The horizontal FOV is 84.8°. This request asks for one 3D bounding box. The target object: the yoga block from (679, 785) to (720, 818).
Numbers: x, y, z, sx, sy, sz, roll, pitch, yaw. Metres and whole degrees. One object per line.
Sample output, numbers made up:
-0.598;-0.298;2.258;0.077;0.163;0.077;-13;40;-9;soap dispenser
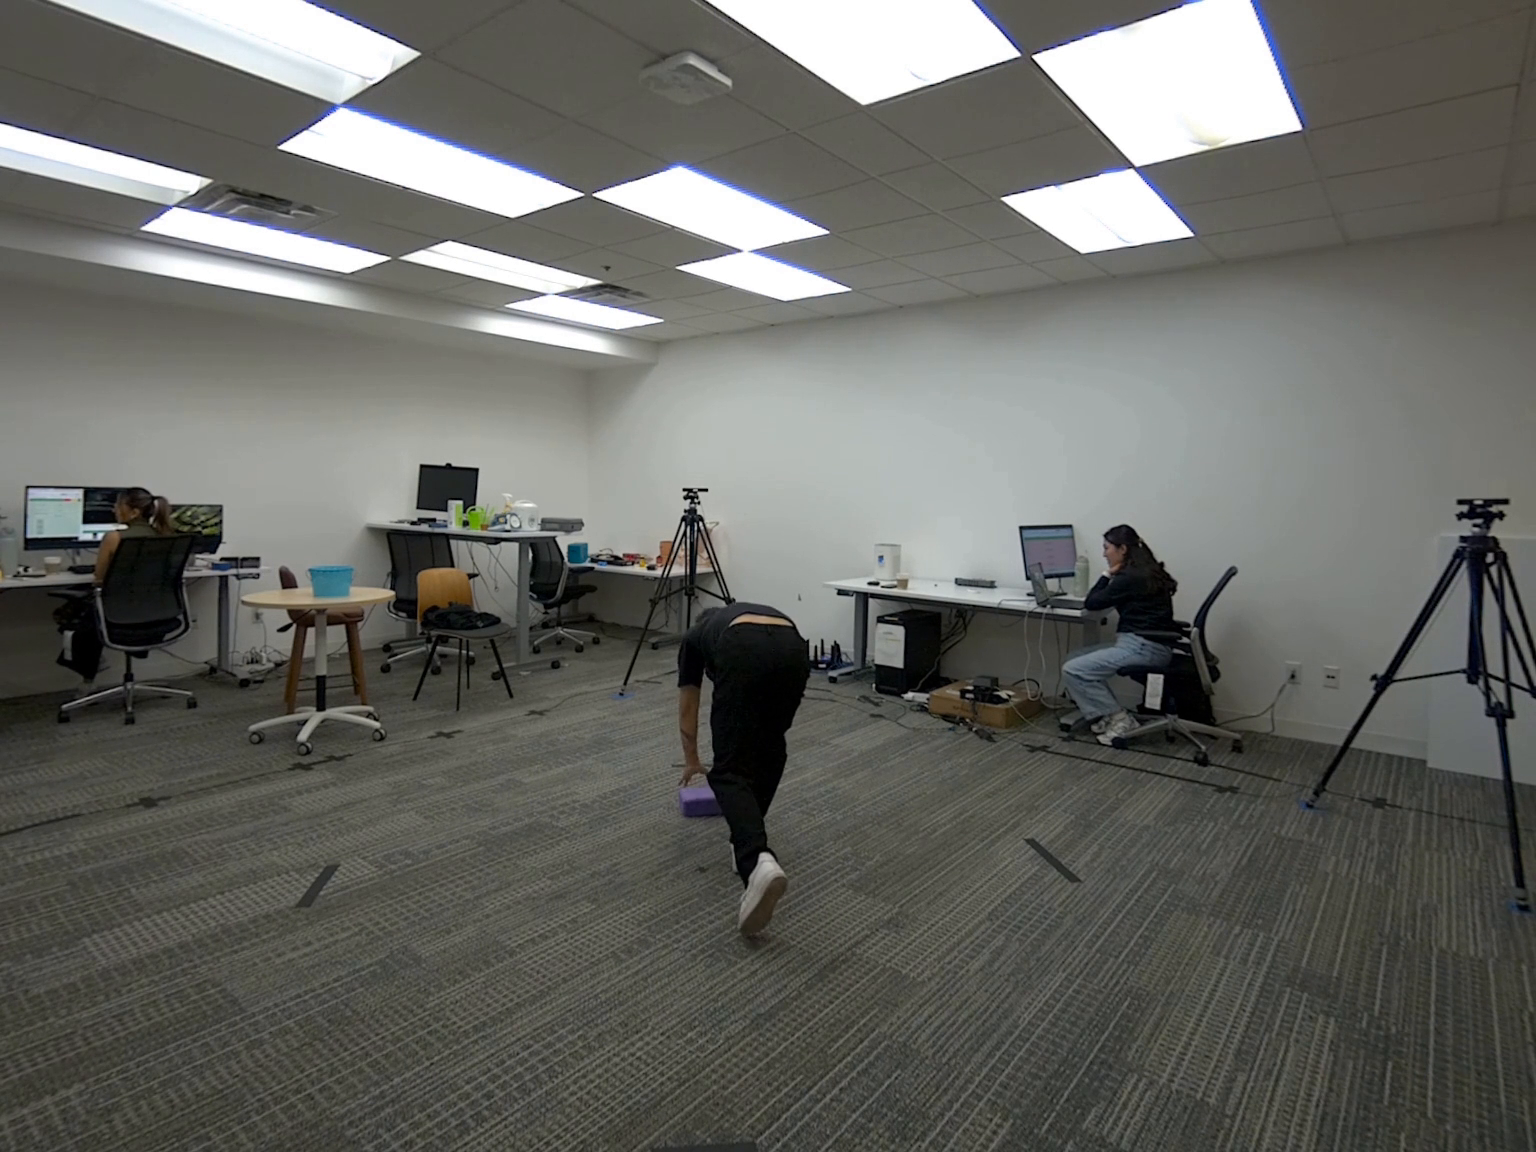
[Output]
-0.272;0.967;3.685;0.227;0.076;0.151;-2;8;-10;yoga block
